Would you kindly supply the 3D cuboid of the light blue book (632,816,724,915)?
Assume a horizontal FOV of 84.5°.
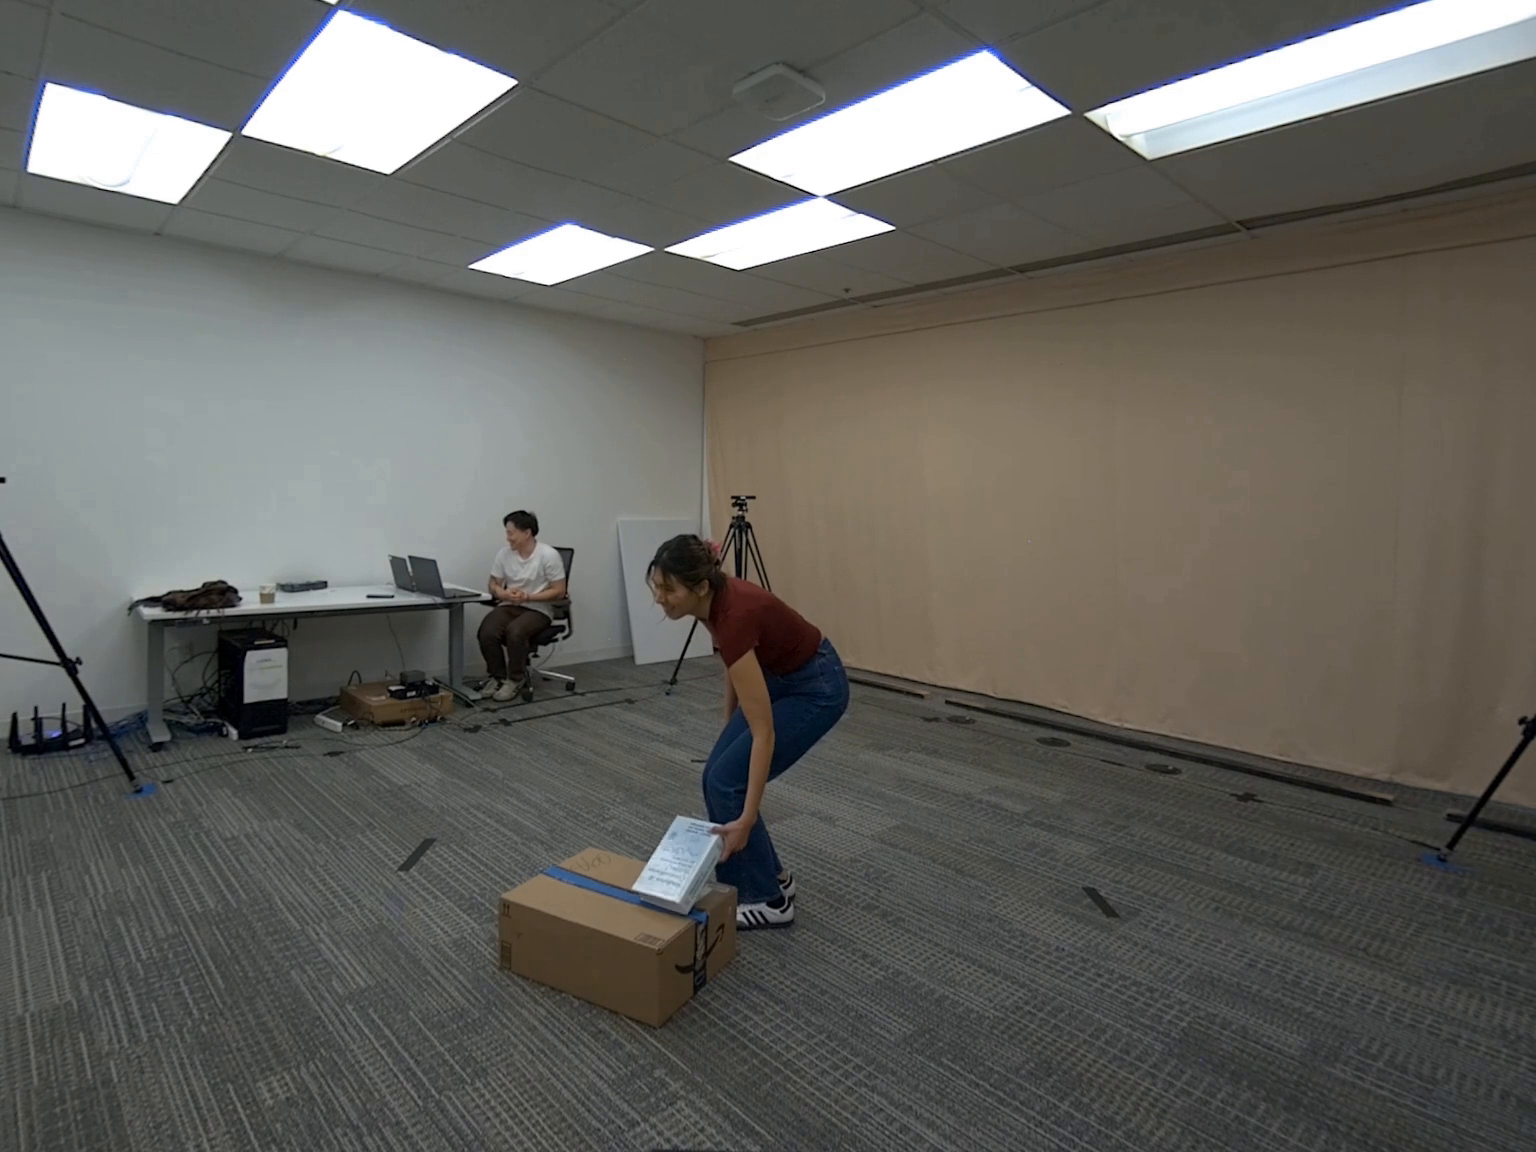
[{"bbox_3d":[-0.254,0.848,2.463,0.196,0.057,0.261,1,39,40],"label":"light blue book"}]
